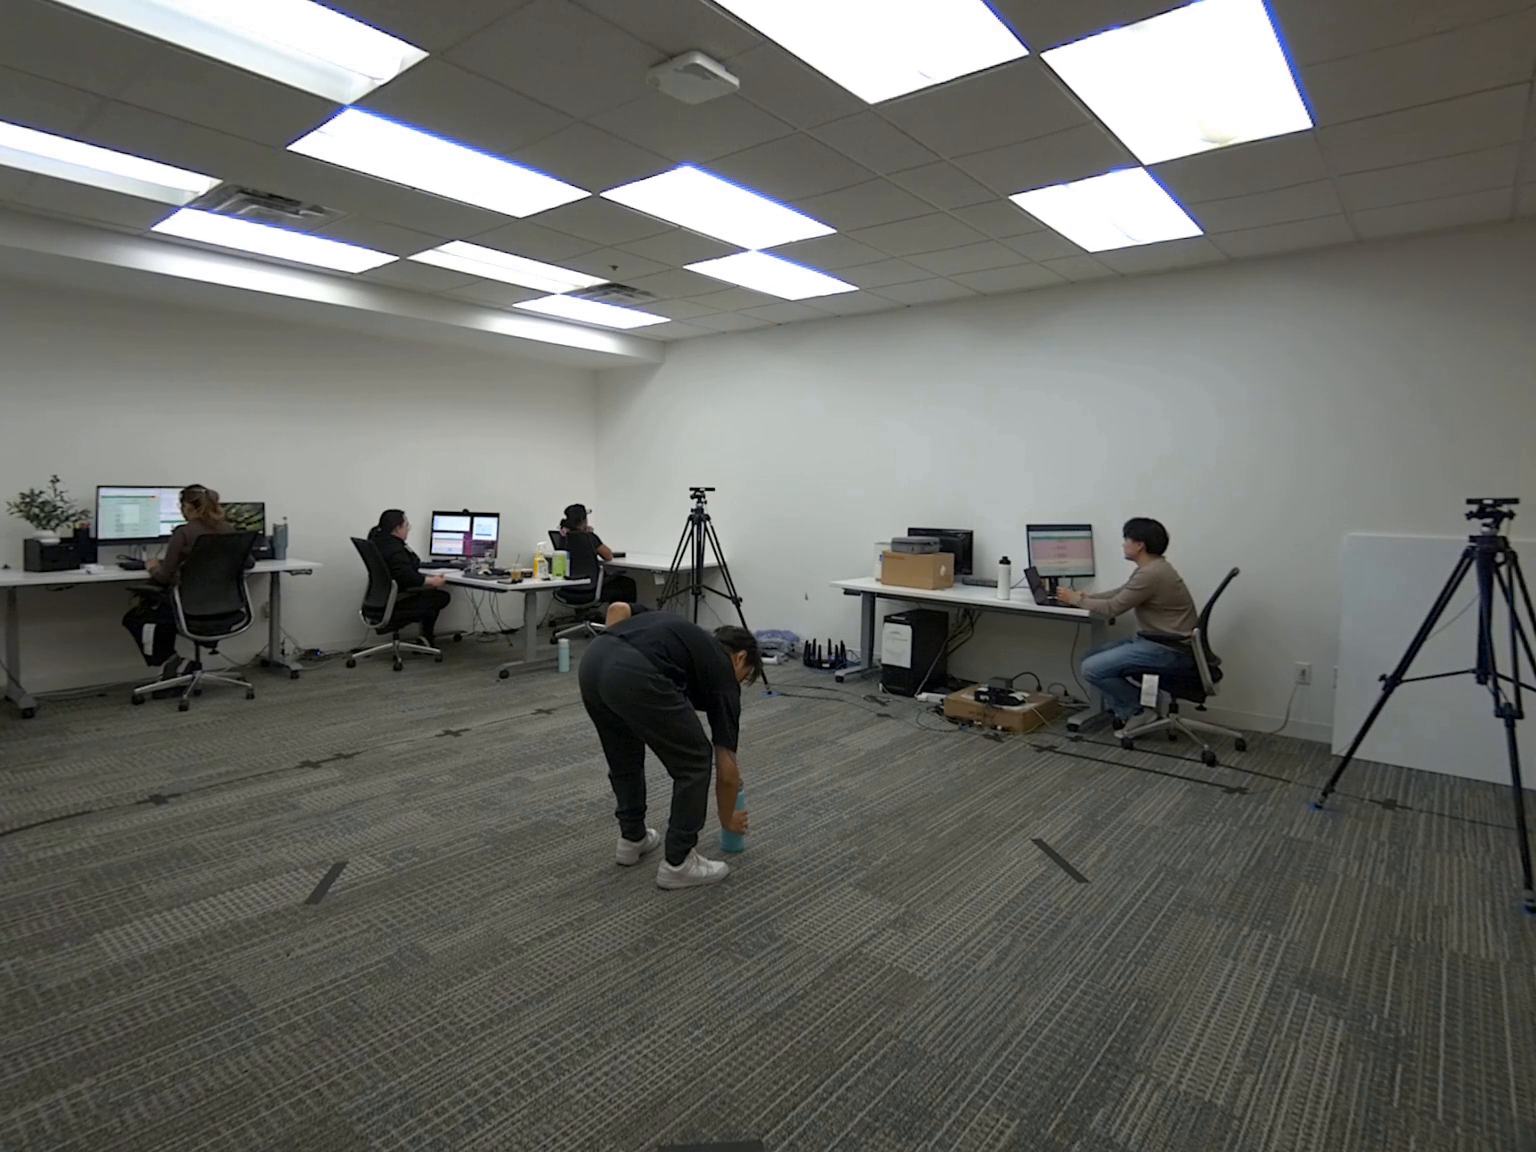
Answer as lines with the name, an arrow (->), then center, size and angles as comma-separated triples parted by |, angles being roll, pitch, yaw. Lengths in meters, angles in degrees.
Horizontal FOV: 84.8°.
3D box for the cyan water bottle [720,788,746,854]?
cyan water bottle -> -0.148, 0.910, 3.294 | 0.092, 0.283, 0.092 | 1, 0, -2
